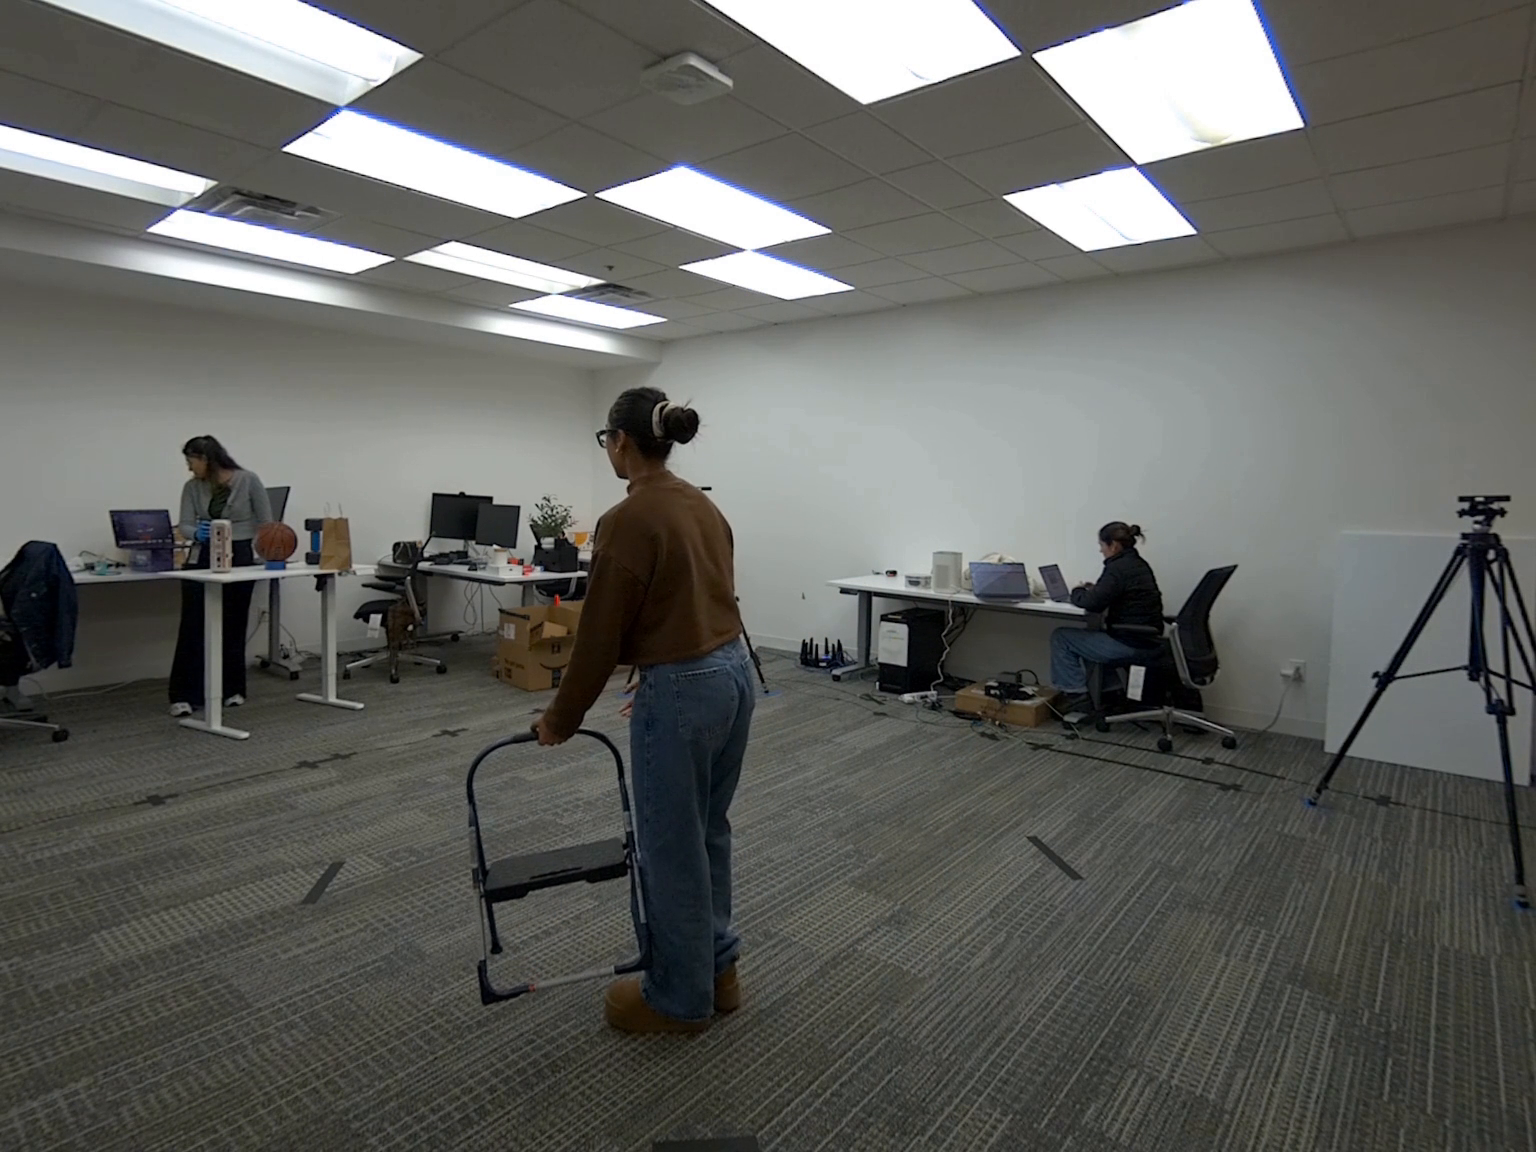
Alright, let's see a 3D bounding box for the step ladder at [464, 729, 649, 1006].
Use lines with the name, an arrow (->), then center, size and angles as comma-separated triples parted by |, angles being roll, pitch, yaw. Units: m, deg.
step ladder -> -0.574, 0.707, 2.231 | 0.426, 0.608, 0.352 | -7, -3, -12
